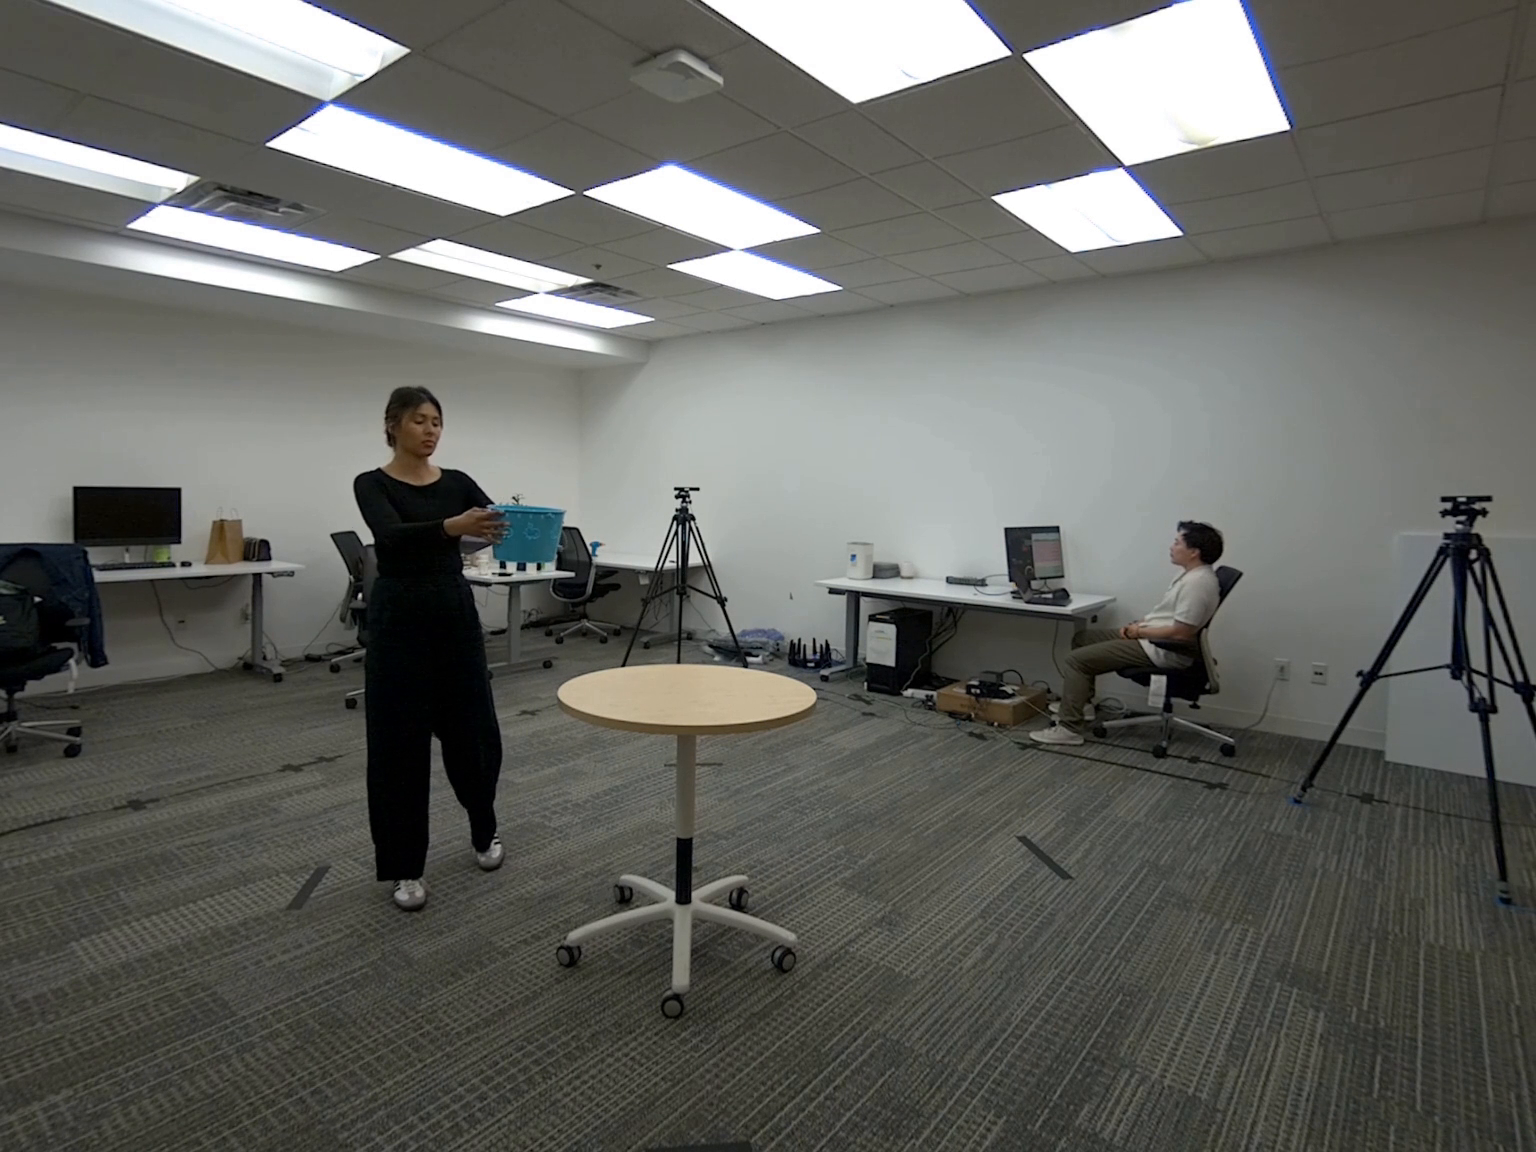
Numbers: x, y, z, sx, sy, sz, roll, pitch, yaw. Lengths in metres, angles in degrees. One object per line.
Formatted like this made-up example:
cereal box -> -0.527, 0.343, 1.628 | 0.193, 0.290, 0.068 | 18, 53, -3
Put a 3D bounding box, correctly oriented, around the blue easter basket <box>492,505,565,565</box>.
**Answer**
blue easter basket -> -0.734, -0.123, 2.513 | 0.243, 0.155, 0.245 | 3, 6, -2
